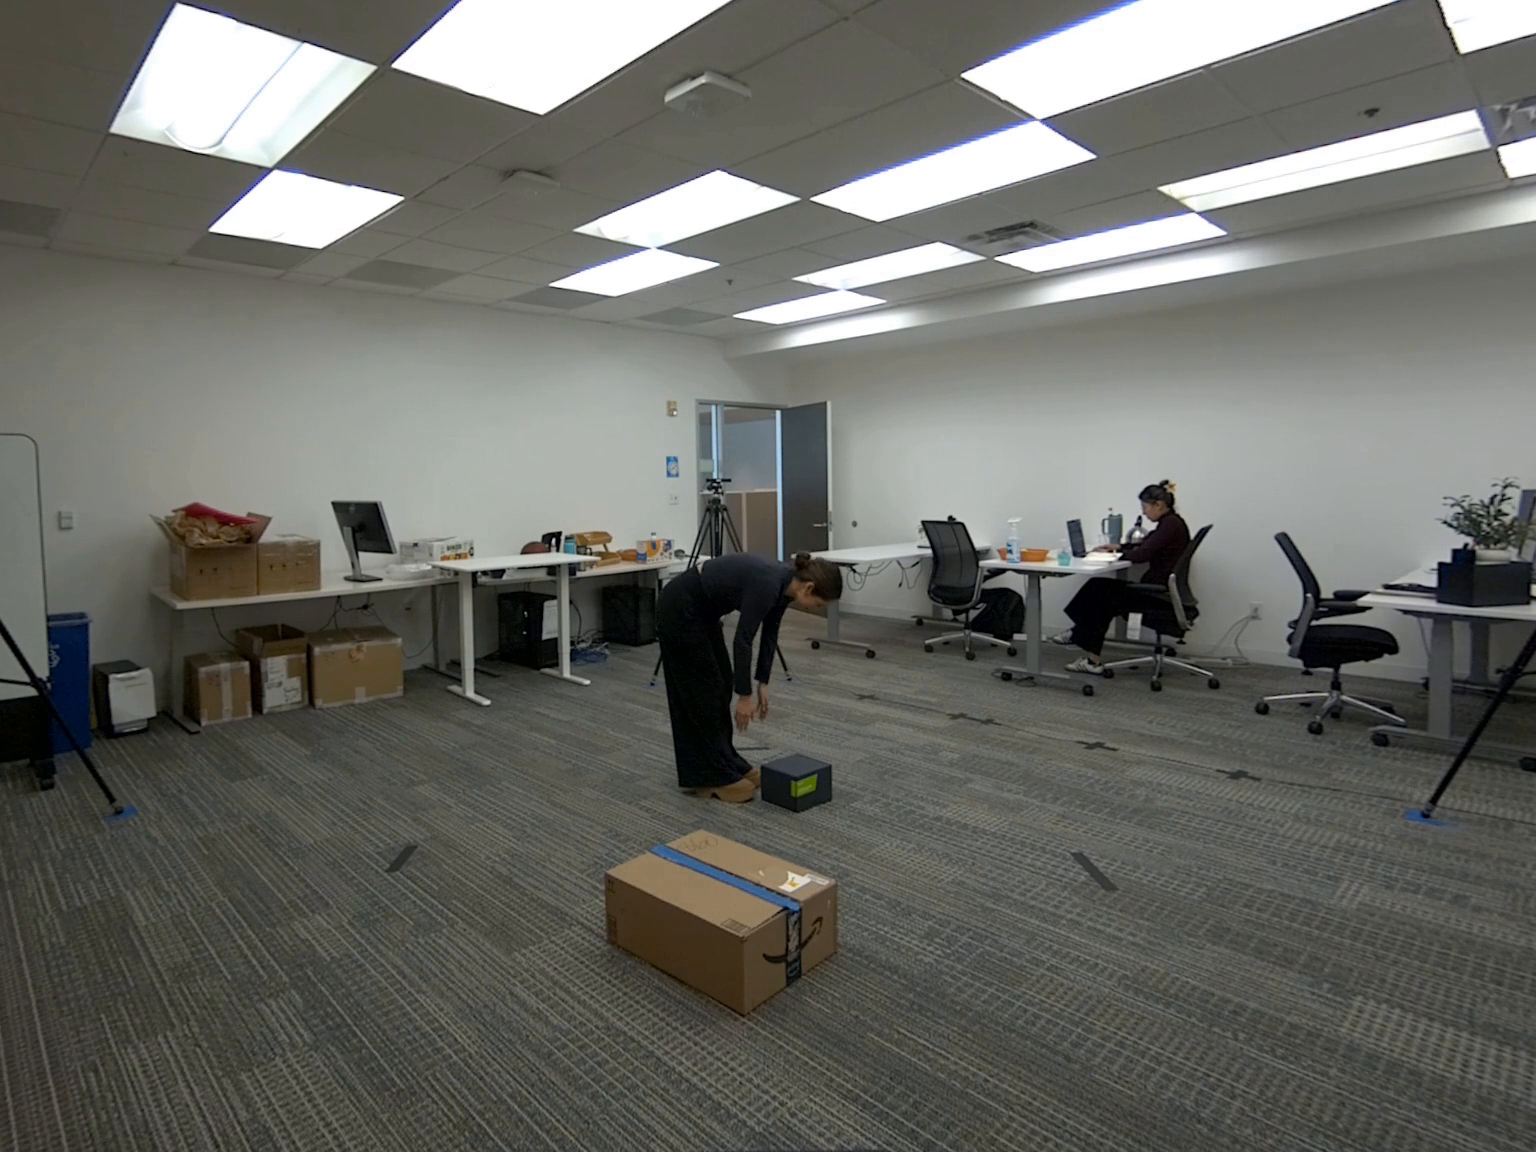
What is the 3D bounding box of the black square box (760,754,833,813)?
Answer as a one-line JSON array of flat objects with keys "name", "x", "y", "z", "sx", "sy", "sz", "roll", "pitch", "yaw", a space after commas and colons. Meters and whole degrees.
[{"name": "black square box", "x": 0.122, "y": 0.888, "z": 3.701, "sx": 0.222, "sy": 0.155, "sz": 0.224, "roll": -6, "pitch": 8, "yaw": -43}]
